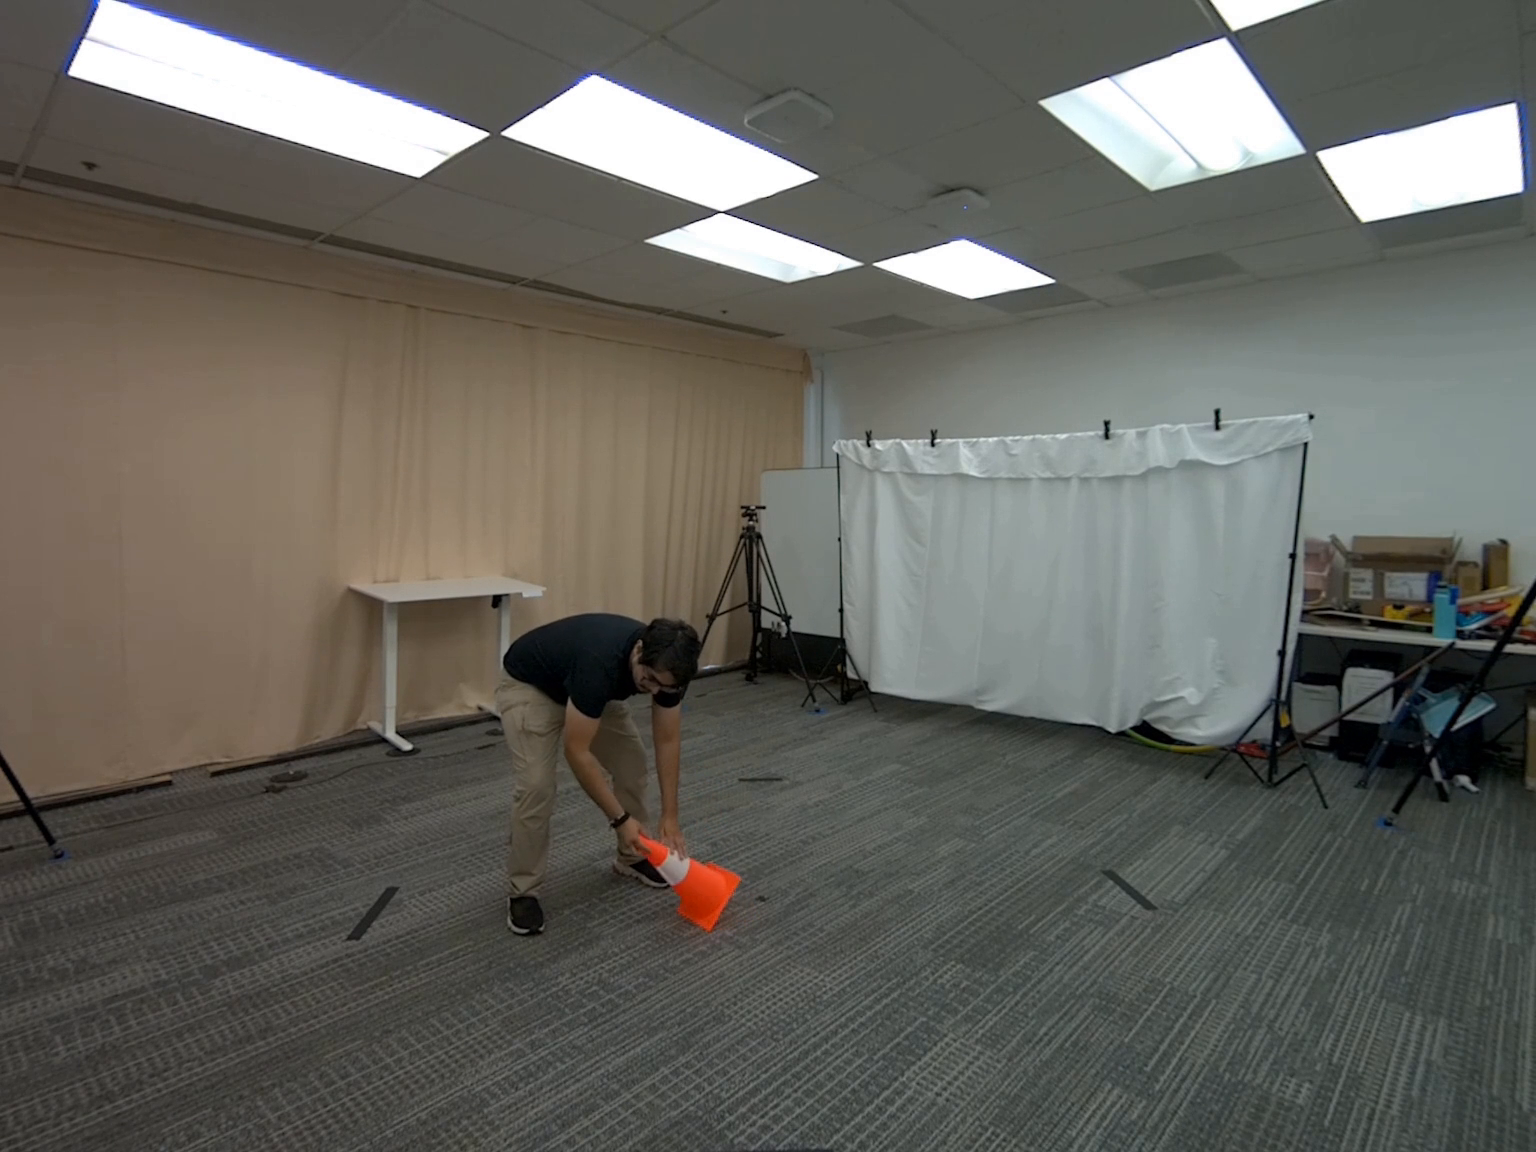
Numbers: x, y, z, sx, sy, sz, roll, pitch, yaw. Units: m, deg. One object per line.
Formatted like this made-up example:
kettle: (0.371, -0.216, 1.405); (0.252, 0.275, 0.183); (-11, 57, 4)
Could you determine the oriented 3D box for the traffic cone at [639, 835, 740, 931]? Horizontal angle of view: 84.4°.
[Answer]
traffic cone: (-0.312, 0.967, 2.782); (0.202, 0.376, 0.210); (-50, 21, -26)
